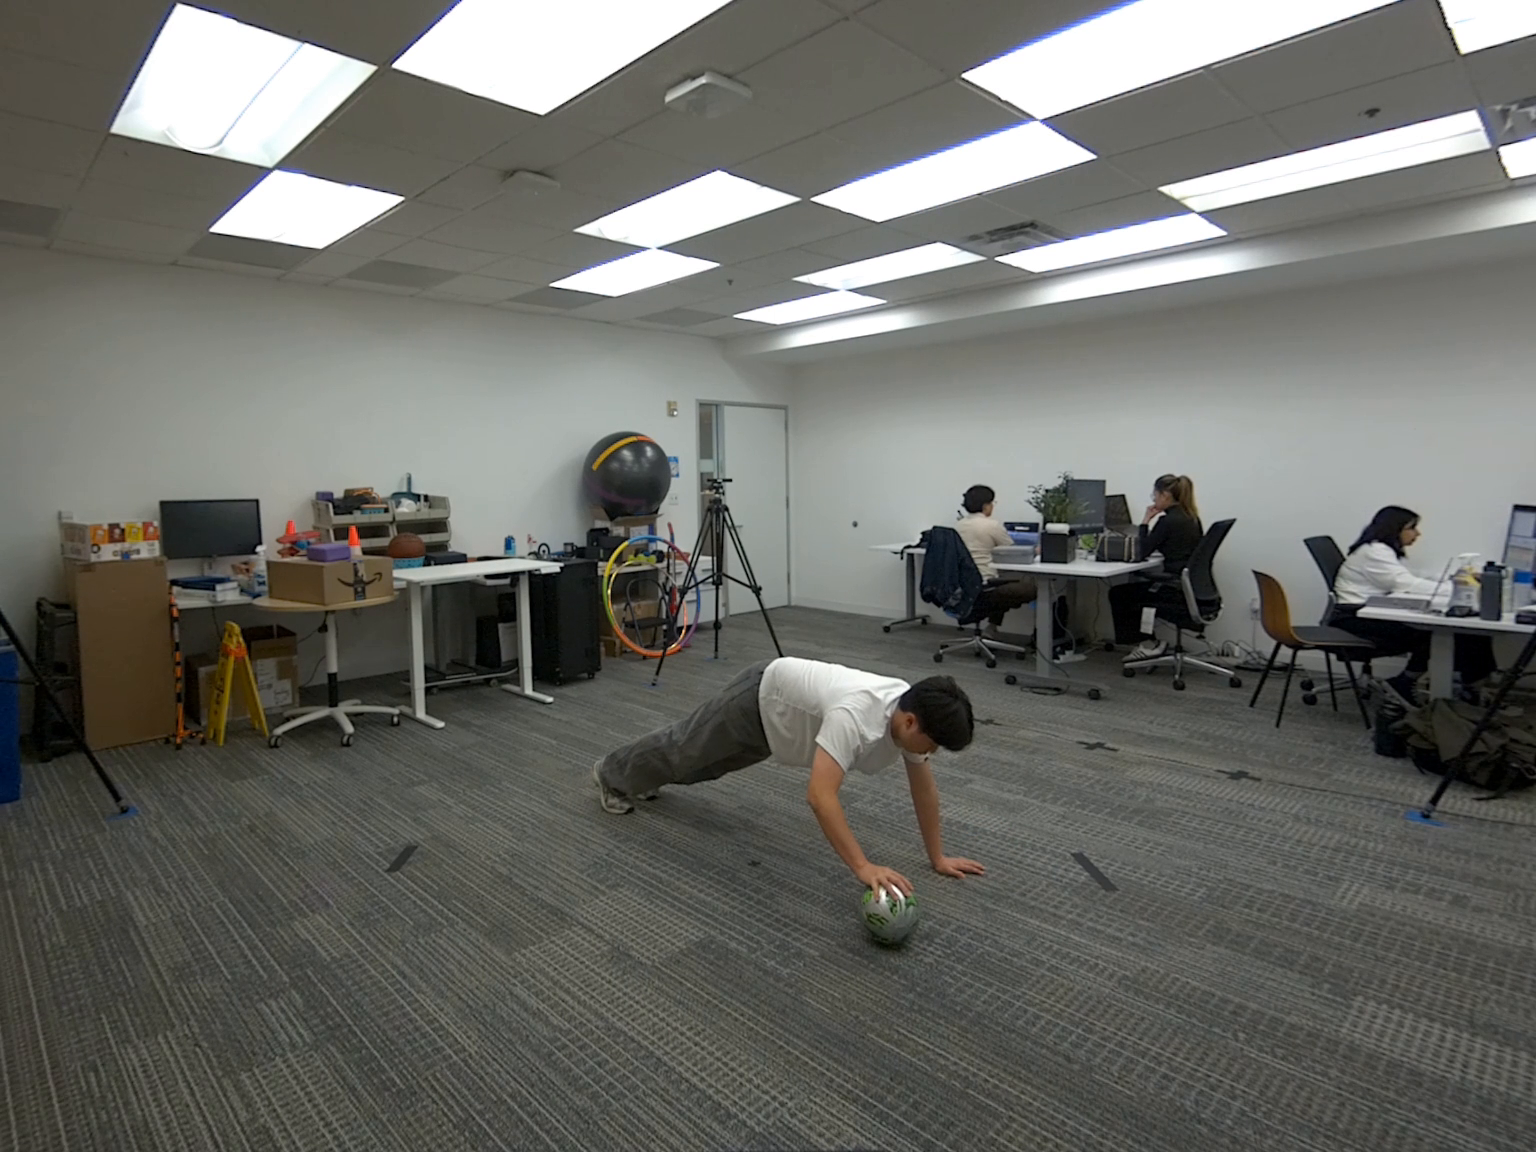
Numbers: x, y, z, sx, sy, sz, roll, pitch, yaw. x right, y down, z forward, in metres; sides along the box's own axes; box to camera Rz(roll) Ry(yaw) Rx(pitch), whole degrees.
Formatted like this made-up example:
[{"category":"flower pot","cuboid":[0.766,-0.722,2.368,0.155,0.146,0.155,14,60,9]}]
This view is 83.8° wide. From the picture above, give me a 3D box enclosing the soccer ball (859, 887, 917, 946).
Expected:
[{"category":"soccer ball","cuboid":[0.370,1.009,2.583,0.187,0.187,0.188,-1,5,-2]}]
